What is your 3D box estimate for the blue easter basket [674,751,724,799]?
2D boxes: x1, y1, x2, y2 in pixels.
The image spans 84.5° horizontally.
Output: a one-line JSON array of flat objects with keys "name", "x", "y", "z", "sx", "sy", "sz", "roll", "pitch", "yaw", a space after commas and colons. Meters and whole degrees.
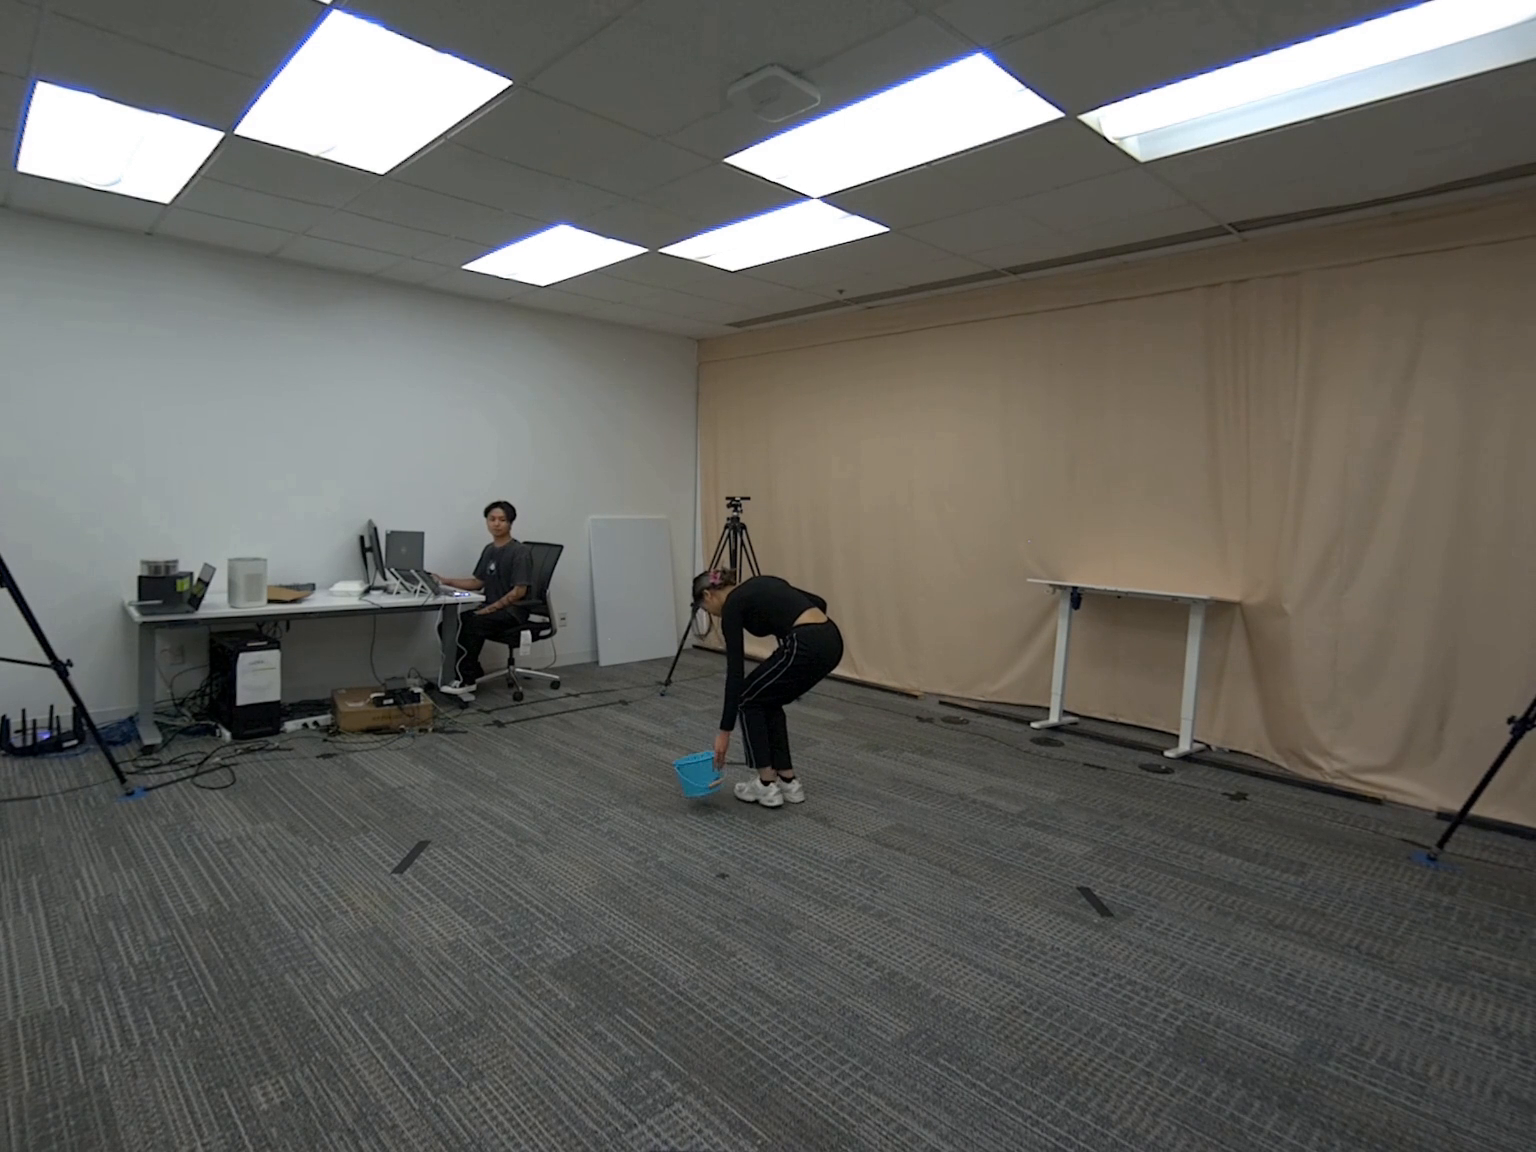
[{"name": "blue easter basket", "x": -0.303, "y": 0.902, "z": 3.776, "sx": 0.243, "sy": 0.156, "sz": 0.243, "roll": -11, "pitch": -4, "yaw": -2}]
